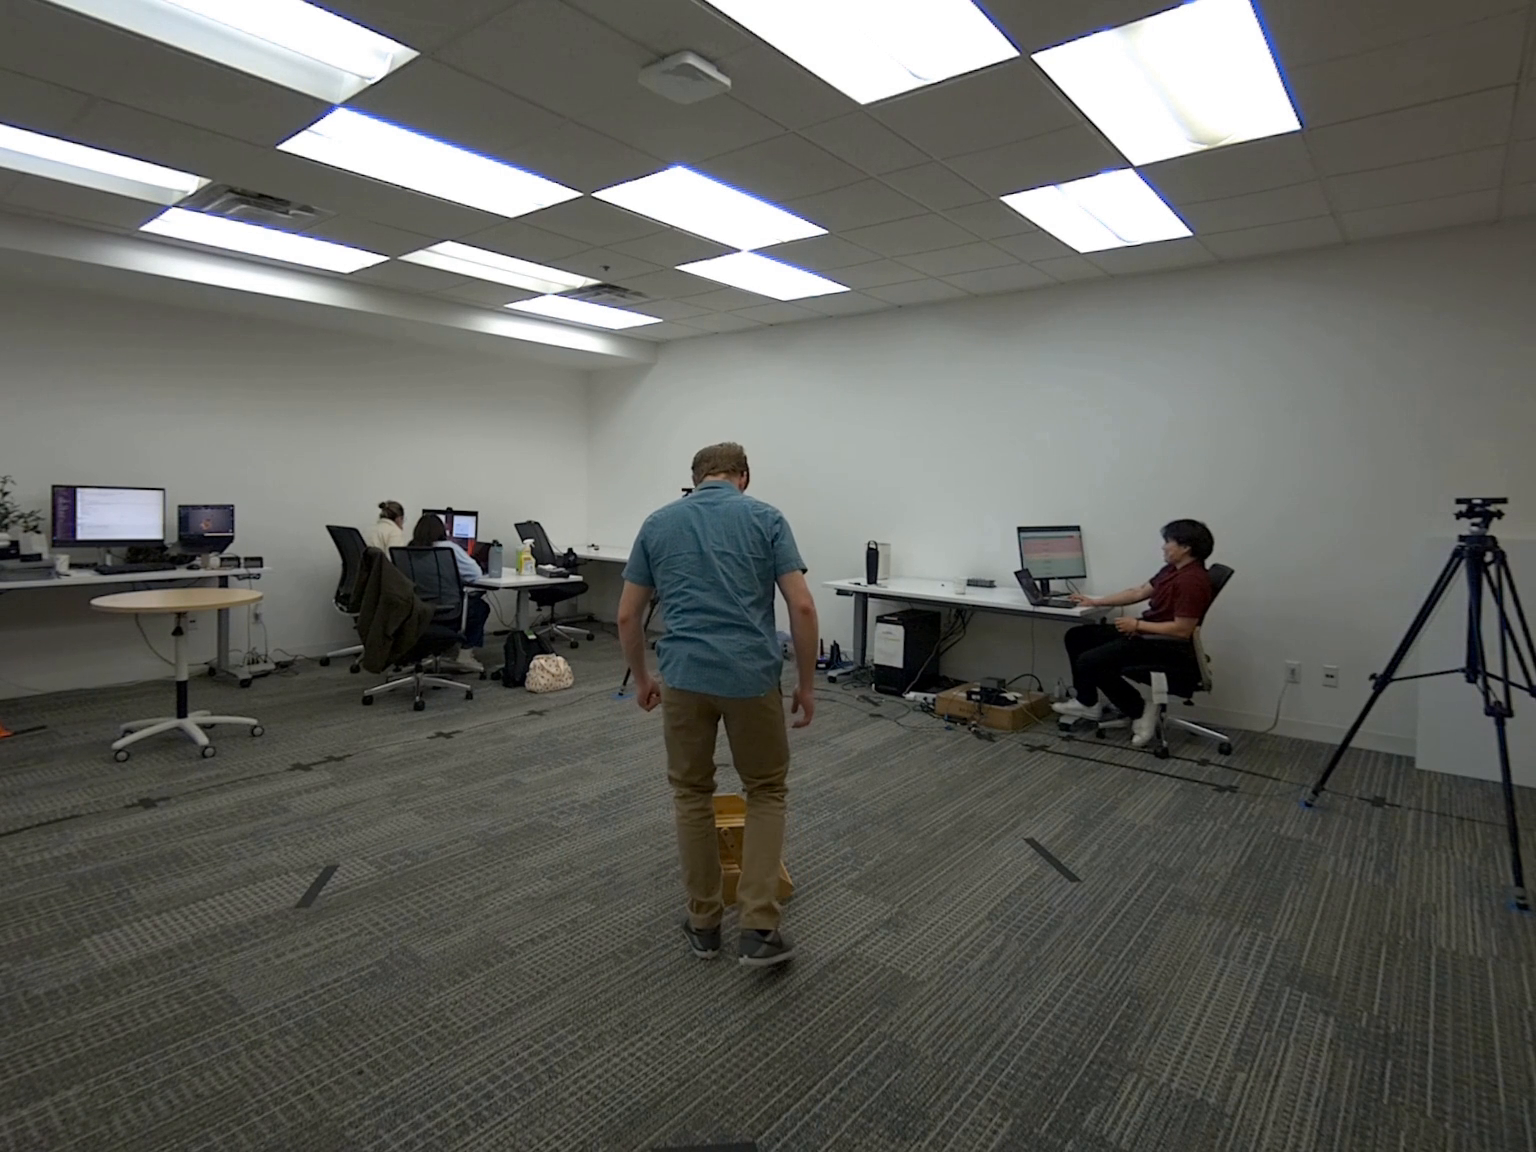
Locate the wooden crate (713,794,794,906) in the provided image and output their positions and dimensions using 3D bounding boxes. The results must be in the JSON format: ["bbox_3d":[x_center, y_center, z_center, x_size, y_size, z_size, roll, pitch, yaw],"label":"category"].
[{"bbox_3d":[-0.084,0.948,3.013,0.299,0.272,0.329,1,4,-10],"label":"wooden crate"}]
